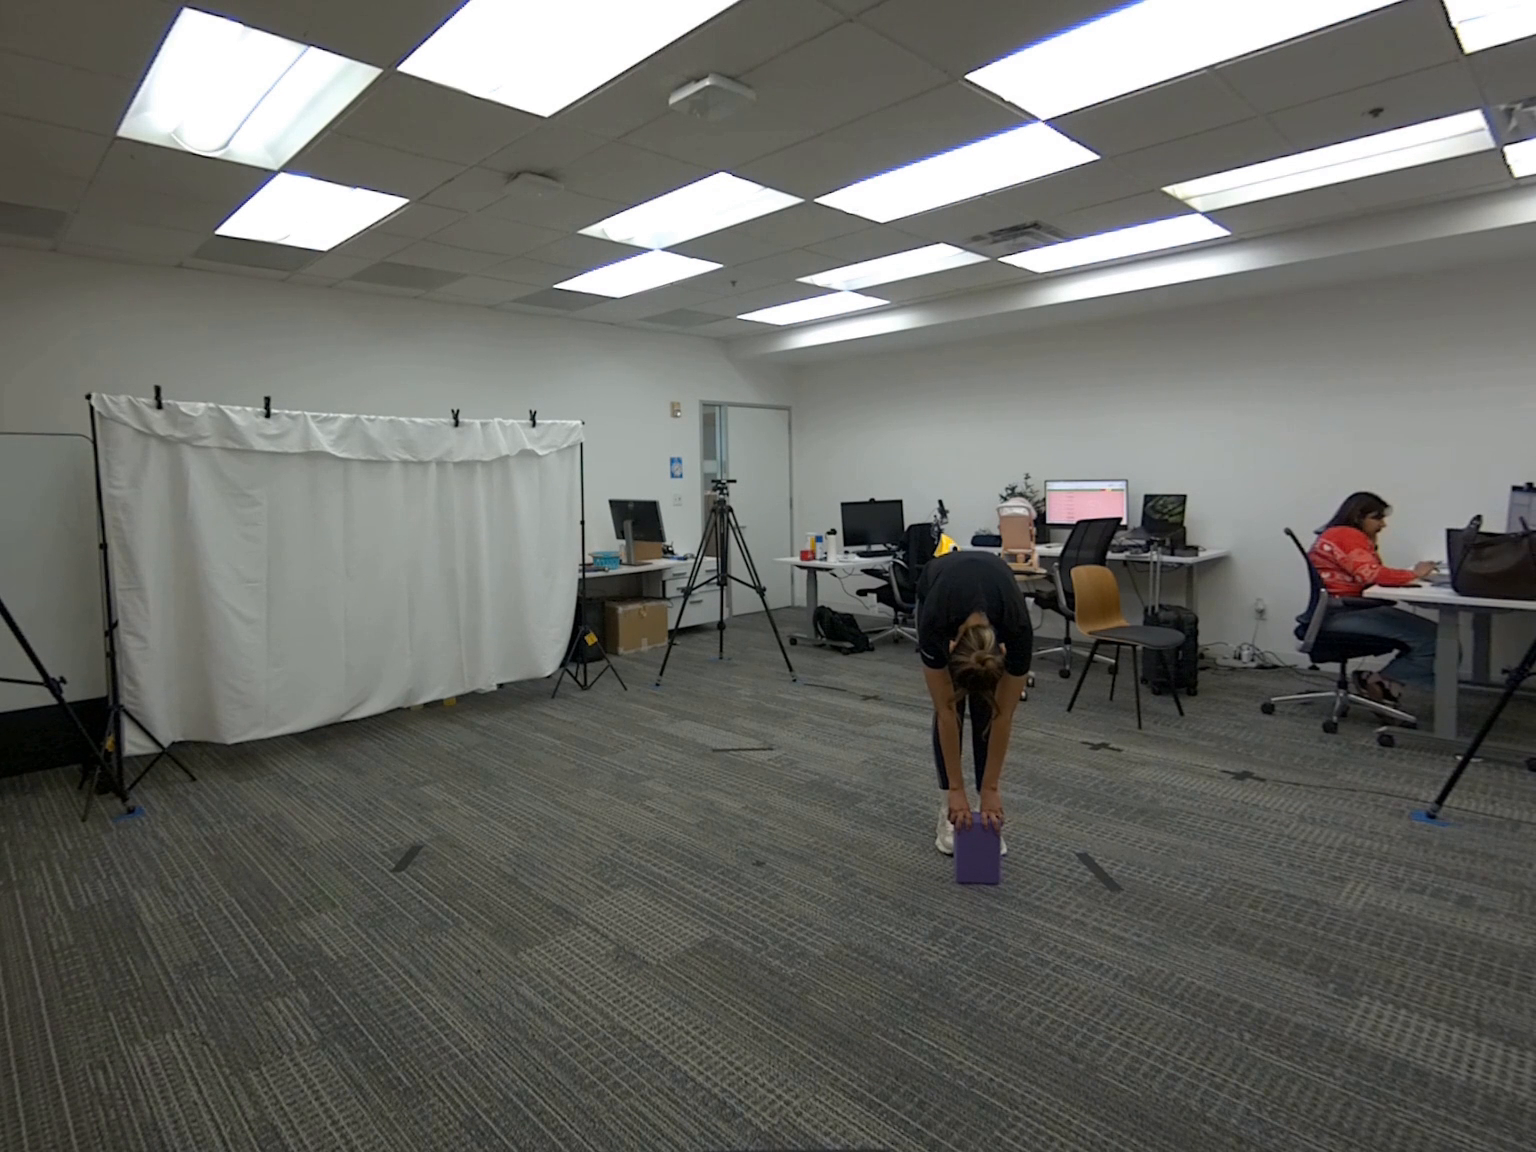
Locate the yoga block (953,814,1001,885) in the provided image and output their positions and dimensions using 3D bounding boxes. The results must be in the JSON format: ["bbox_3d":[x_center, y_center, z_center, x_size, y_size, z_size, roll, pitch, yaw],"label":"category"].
[{"bbox_3d":[0.724,0.945,2.942,0.149,0.229,0.076,-2,3,4],"label":"yoga block"}]
